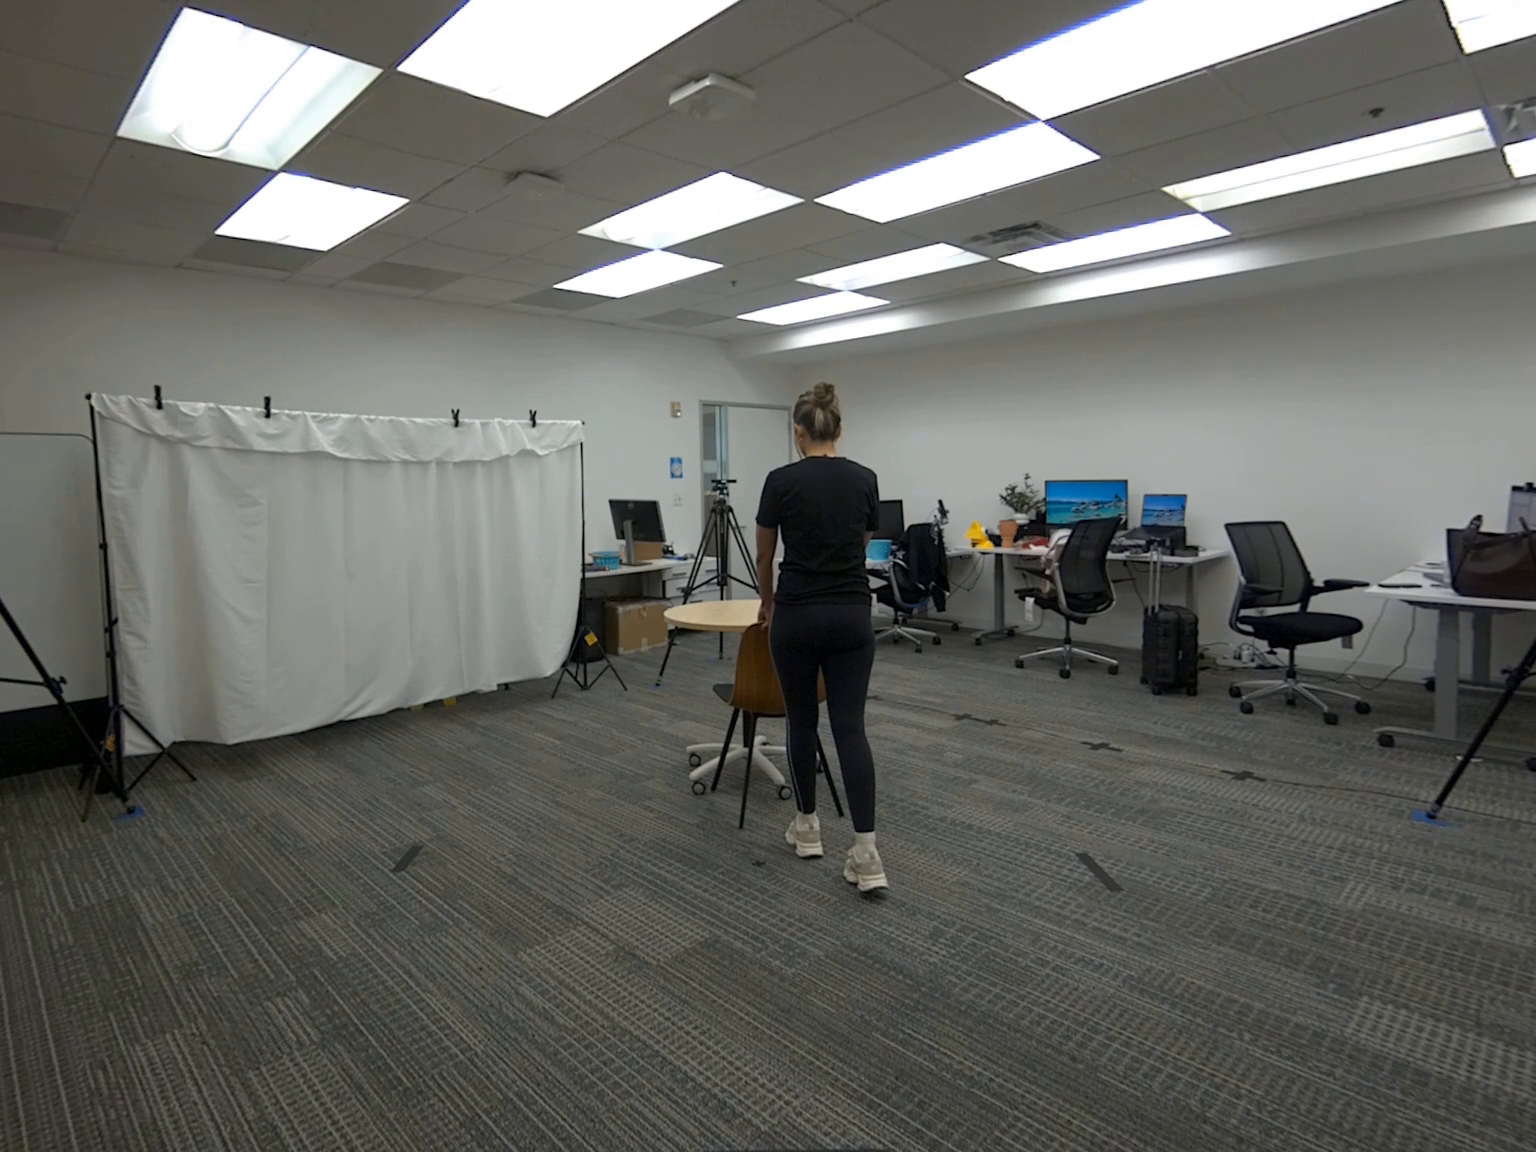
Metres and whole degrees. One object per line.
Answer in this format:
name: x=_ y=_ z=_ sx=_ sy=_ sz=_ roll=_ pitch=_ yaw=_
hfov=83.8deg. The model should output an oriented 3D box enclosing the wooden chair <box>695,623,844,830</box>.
wooden chair: x=0.022 y=0.555 z=3.659 sx=0.471 sy=0.871 sz=0.535 roll=-2 pitch=9 yaw=-17
